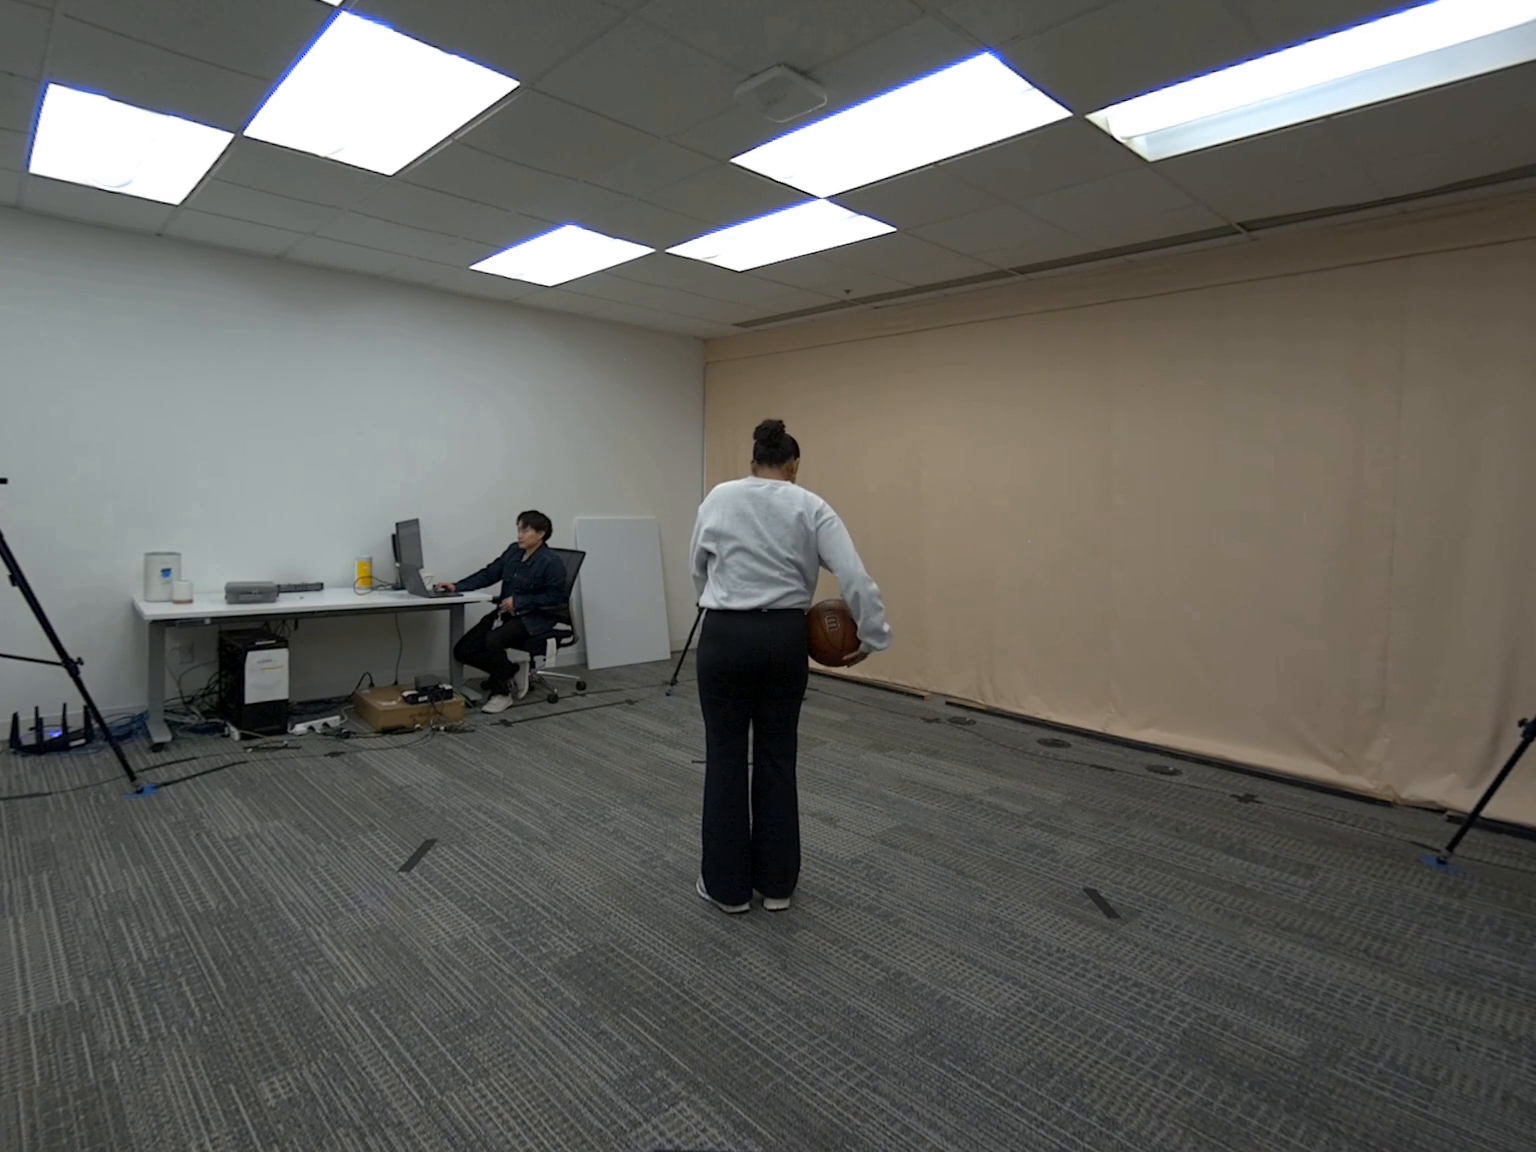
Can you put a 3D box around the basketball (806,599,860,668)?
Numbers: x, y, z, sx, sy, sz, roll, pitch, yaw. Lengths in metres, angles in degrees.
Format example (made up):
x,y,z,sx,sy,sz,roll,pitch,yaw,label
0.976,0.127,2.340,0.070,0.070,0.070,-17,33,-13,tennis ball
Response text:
x,y,z,sx,sy,sz,roll,pitch,yaw,label
0.210,0.193,2.966,0.236,0.235,0.237,1,4,-1,basketball
